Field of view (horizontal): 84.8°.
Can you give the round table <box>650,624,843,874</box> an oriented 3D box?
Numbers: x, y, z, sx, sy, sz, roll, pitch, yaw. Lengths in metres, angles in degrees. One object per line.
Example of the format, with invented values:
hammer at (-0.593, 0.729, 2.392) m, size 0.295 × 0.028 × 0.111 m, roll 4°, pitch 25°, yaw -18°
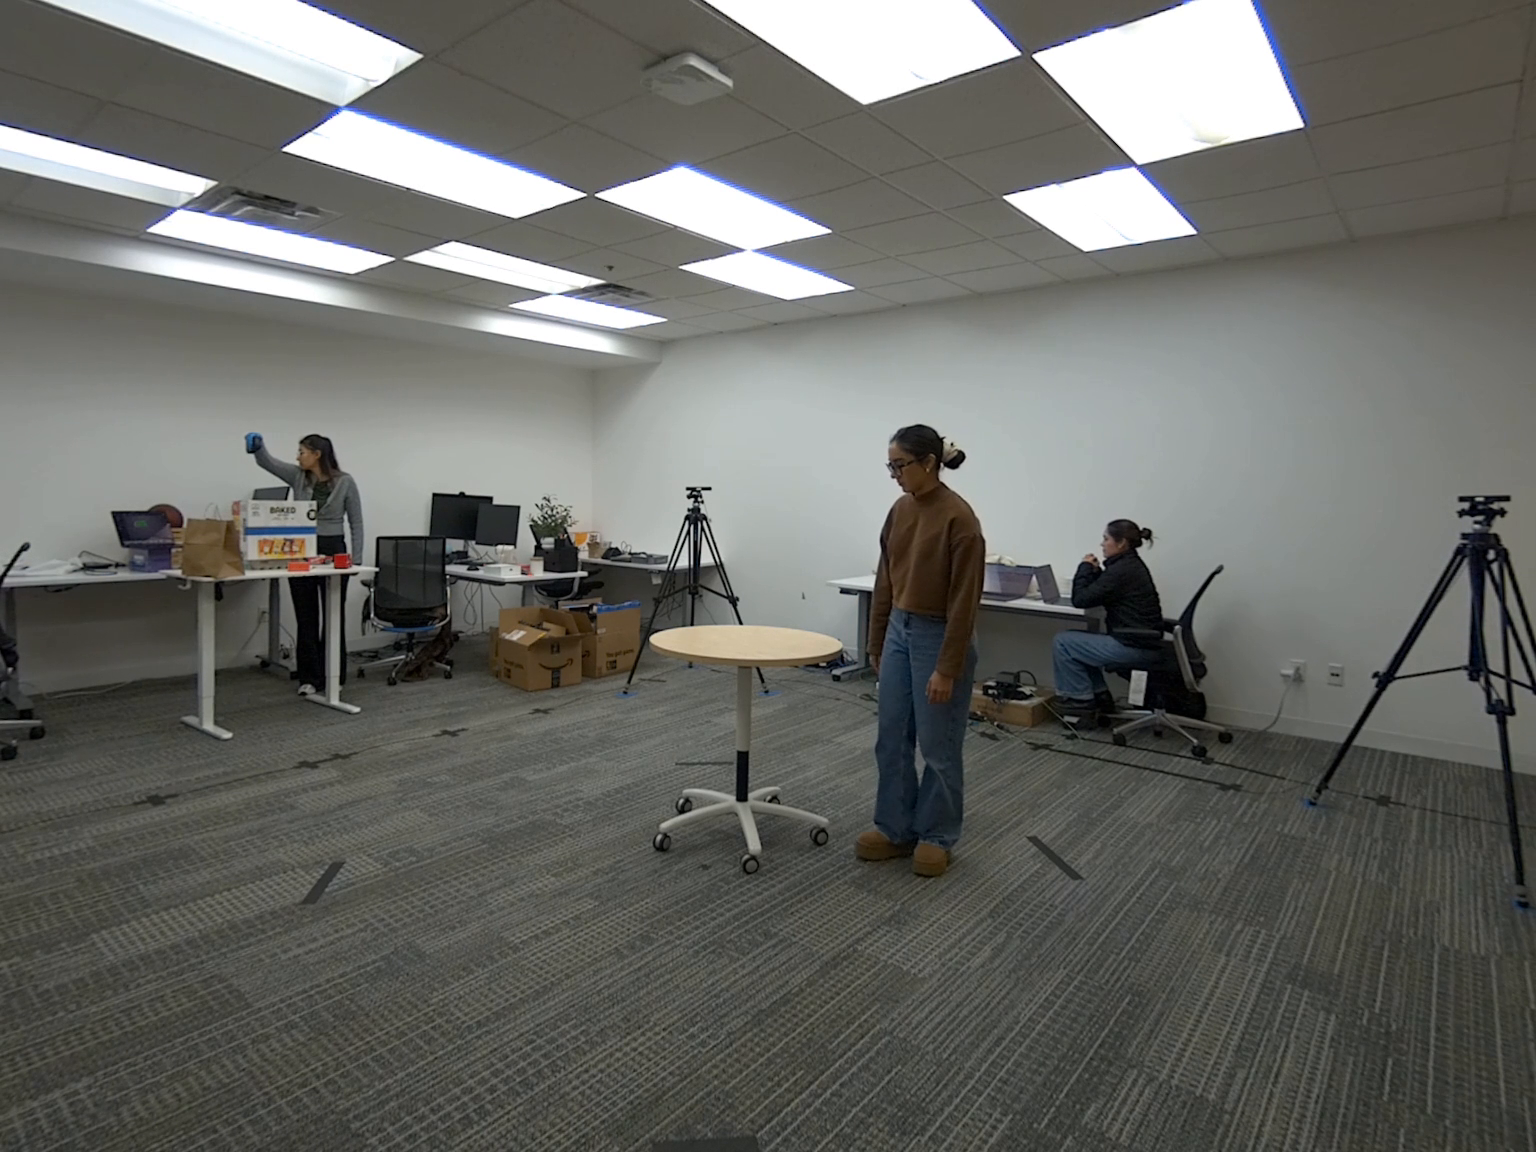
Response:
round table at (-0.113, 0.649, 3.409) m, size 0.763 × 0.792 × 0.767 m, roll 1°, pitch 4°, yaw -2°
